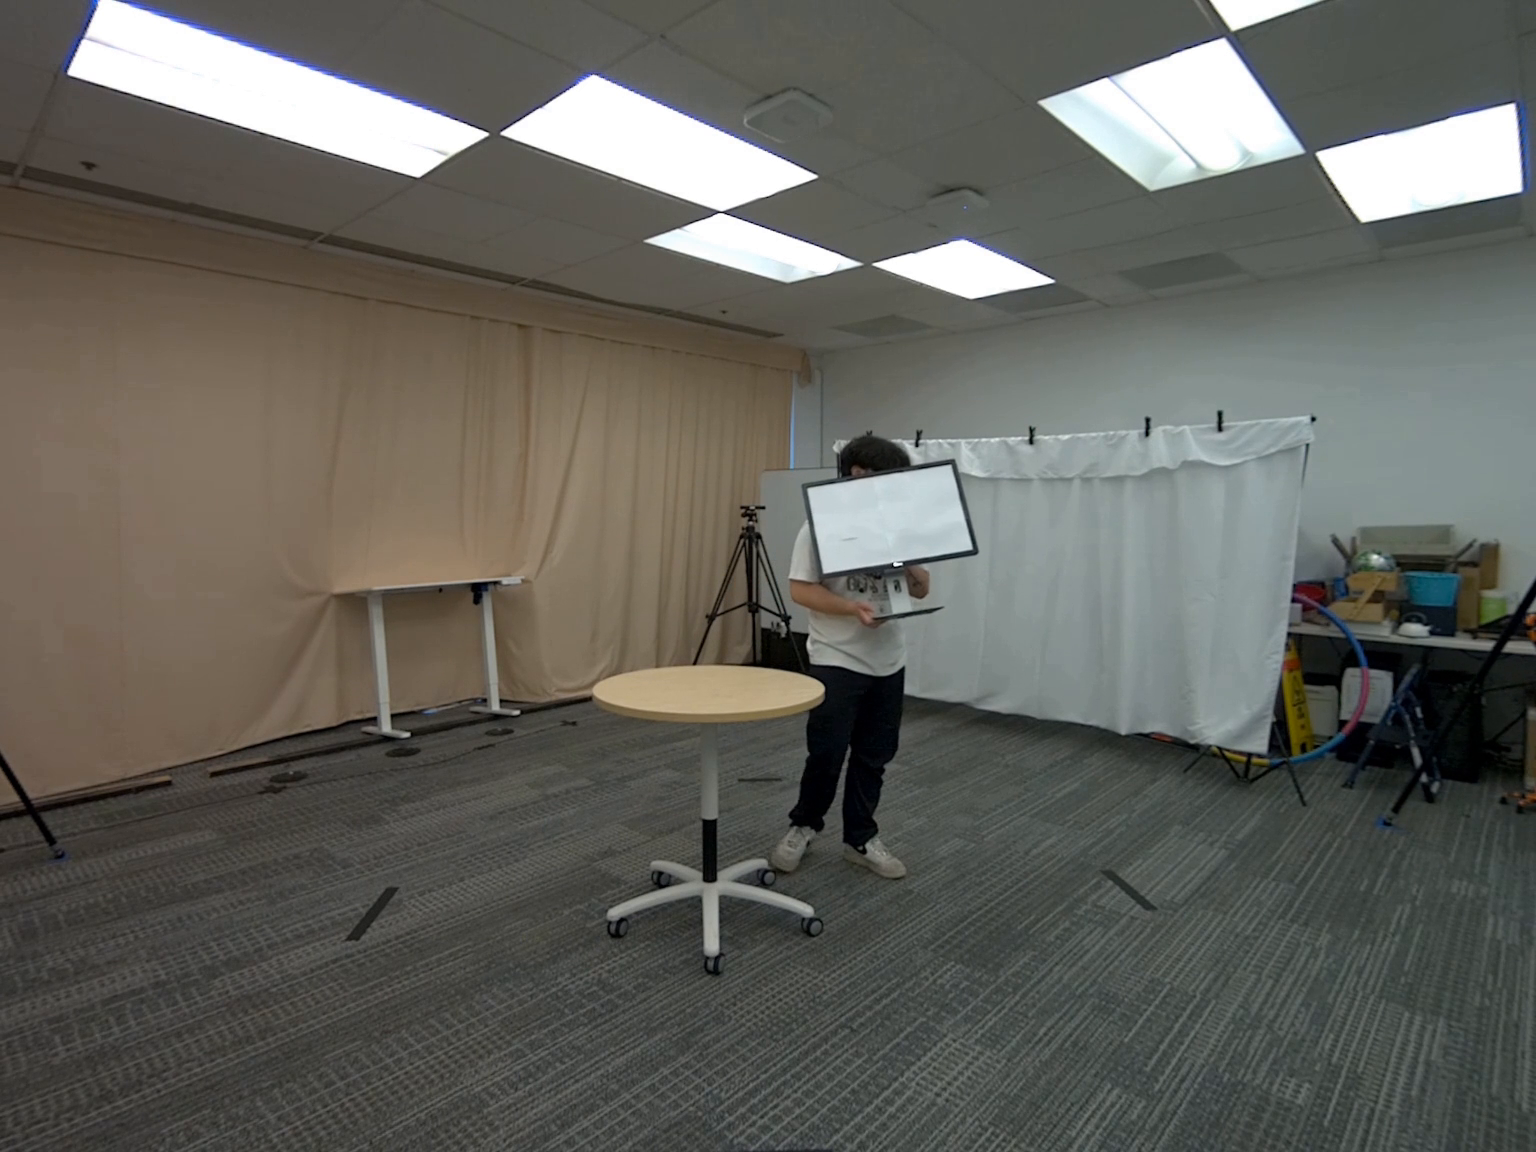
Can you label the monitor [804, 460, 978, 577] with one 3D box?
[{"bbox_3d":[0.443,-0.113,3.034,0.566,0.559,0.207,-9,-12,2],"label":"monitor"}]
